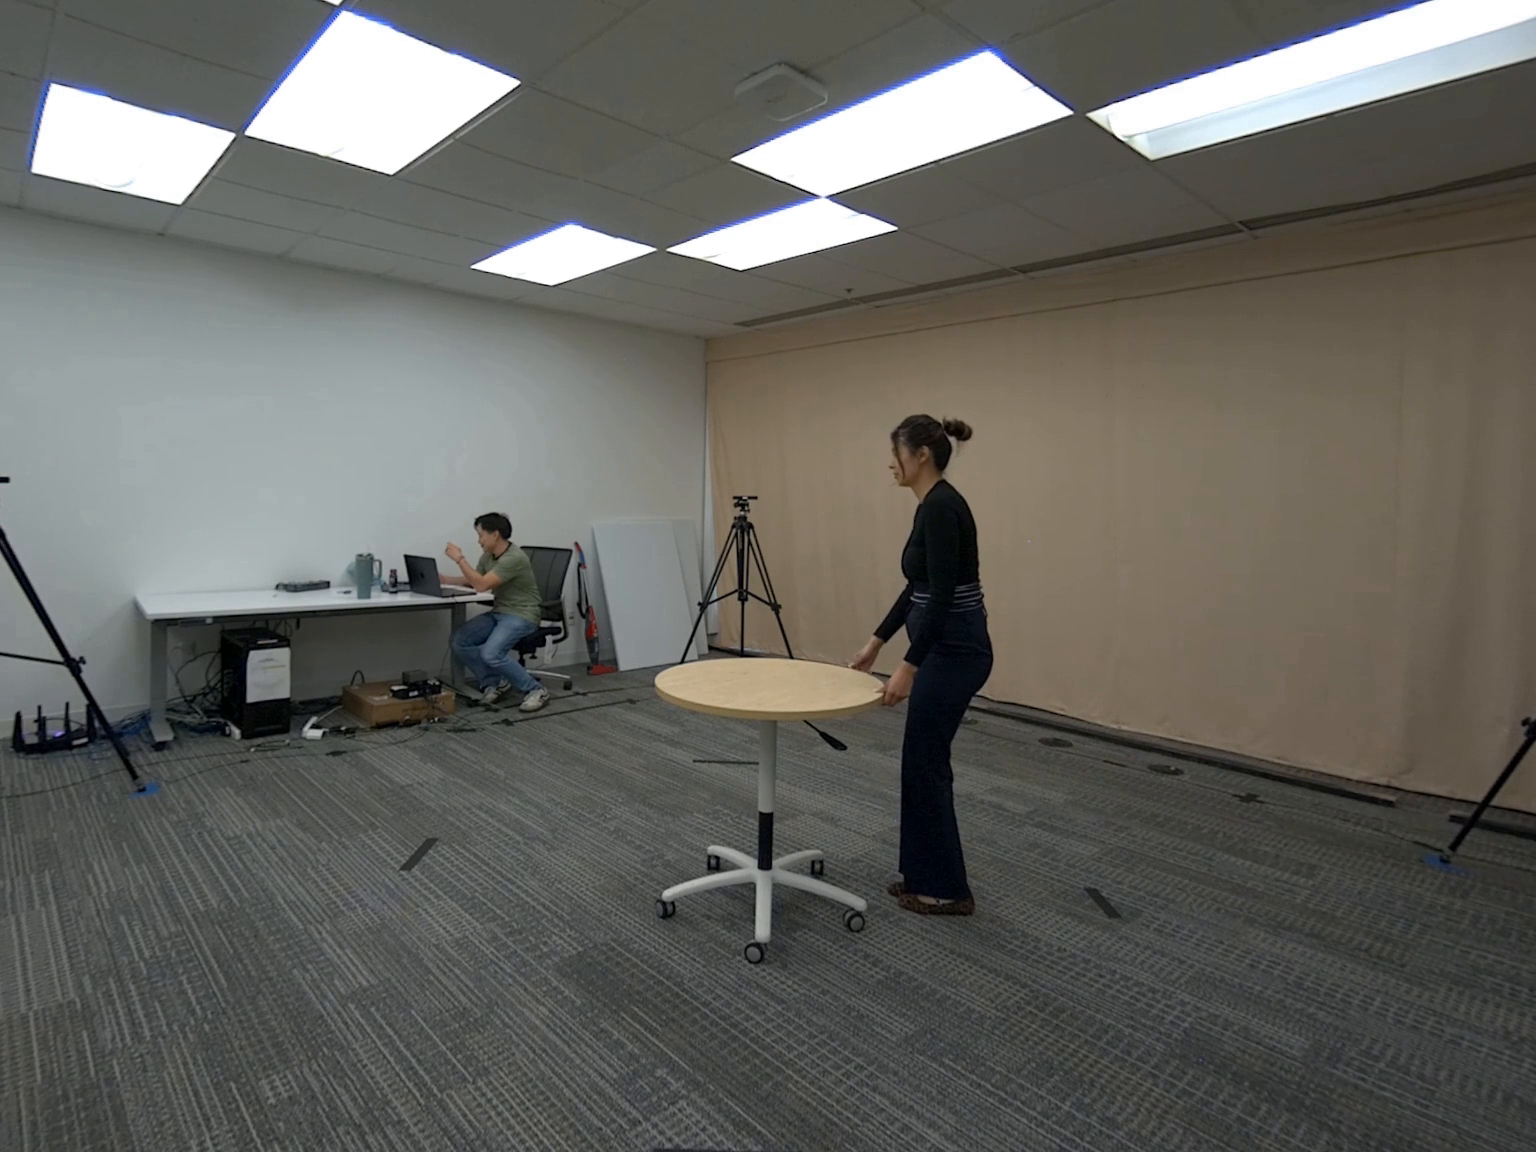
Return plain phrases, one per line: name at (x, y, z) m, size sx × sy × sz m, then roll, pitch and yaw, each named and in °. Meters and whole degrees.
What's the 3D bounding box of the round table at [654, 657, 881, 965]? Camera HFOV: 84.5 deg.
round table at (-0.012, 0.742, 2.834) m, size 0.763 × 0.792 × 0.767 m, roll 2°, pitch 4°, yaw -1°
